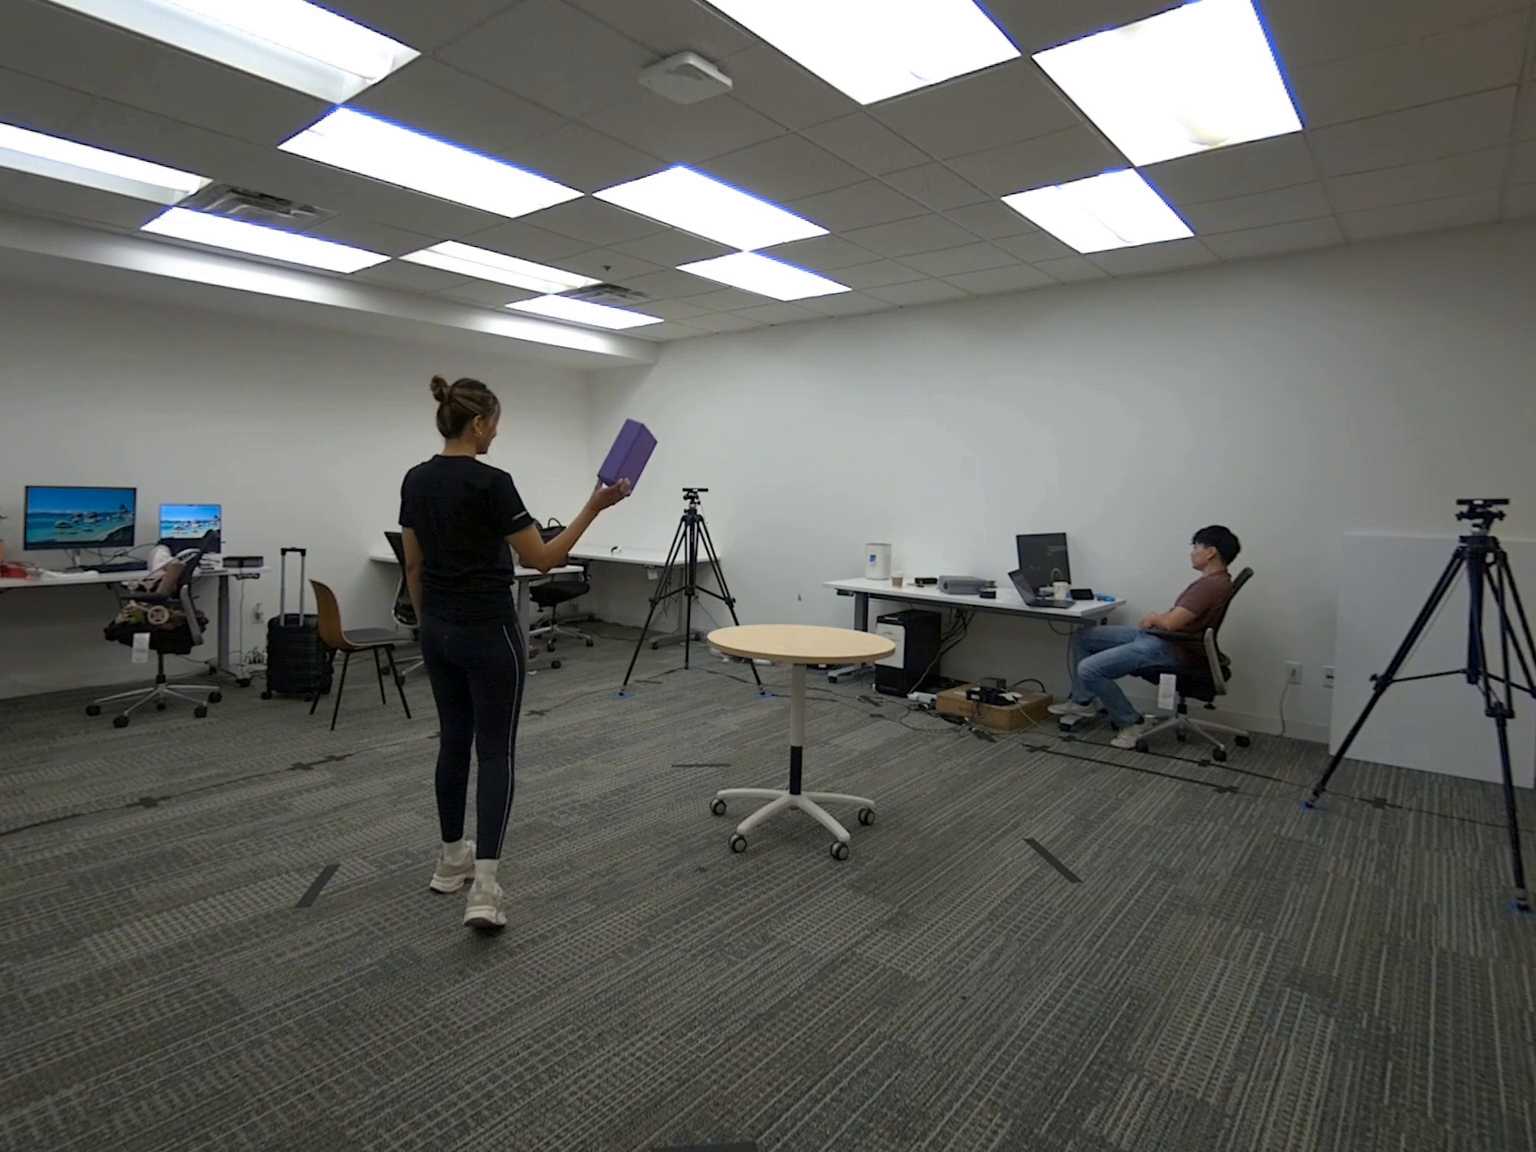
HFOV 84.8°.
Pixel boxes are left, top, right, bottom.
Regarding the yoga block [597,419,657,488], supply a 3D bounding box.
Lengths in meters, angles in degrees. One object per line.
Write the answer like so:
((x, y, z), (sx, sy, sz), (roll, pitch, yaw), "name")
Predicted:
((-0.488, -0.399, 2.870), (0.078, 0.230, 0.145), (22, -10, 16), "yoga block")
